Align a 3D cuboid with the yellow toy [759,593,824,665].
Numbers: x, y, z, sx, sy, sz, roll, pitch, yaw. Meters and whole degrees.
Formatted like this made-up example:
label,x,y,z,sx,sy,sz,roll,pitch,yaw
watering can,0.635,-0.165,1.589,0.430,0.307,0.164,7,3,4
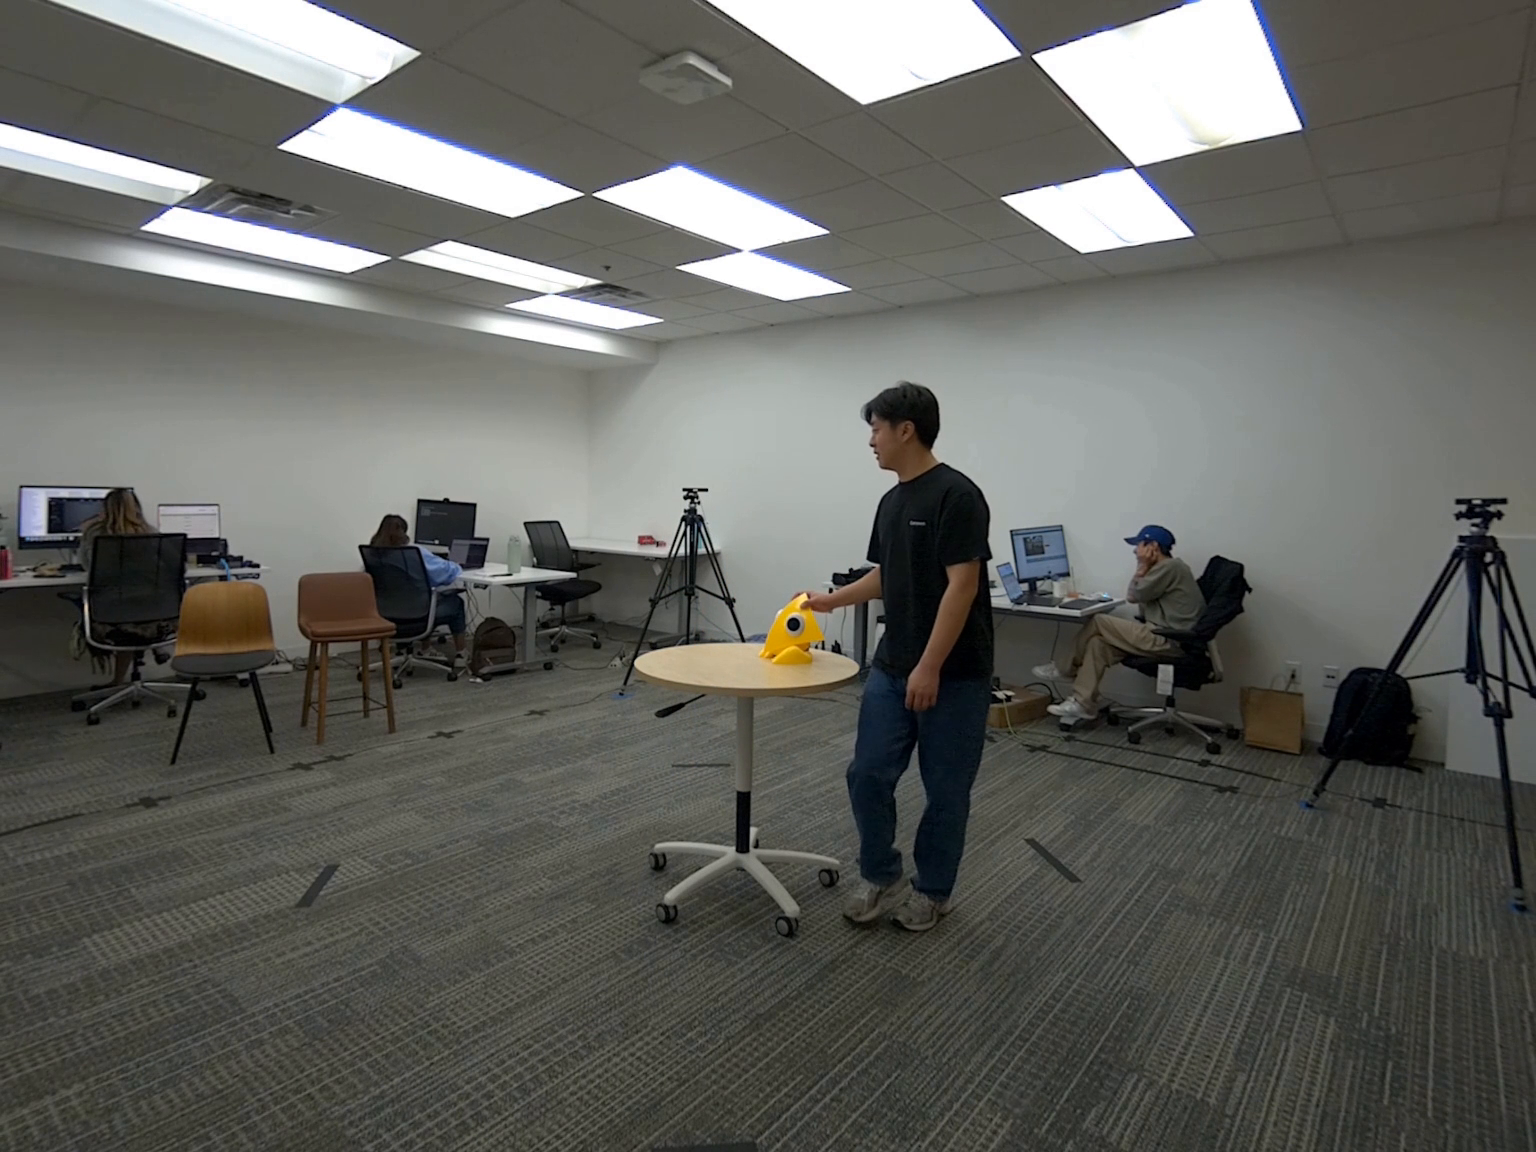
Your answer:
label,x,y,z,sx,sy,sz,roll,pitch,yaw
yellow toy,0.063,0.173,2.991,0.189,0.230,0.210,1,4,-22
